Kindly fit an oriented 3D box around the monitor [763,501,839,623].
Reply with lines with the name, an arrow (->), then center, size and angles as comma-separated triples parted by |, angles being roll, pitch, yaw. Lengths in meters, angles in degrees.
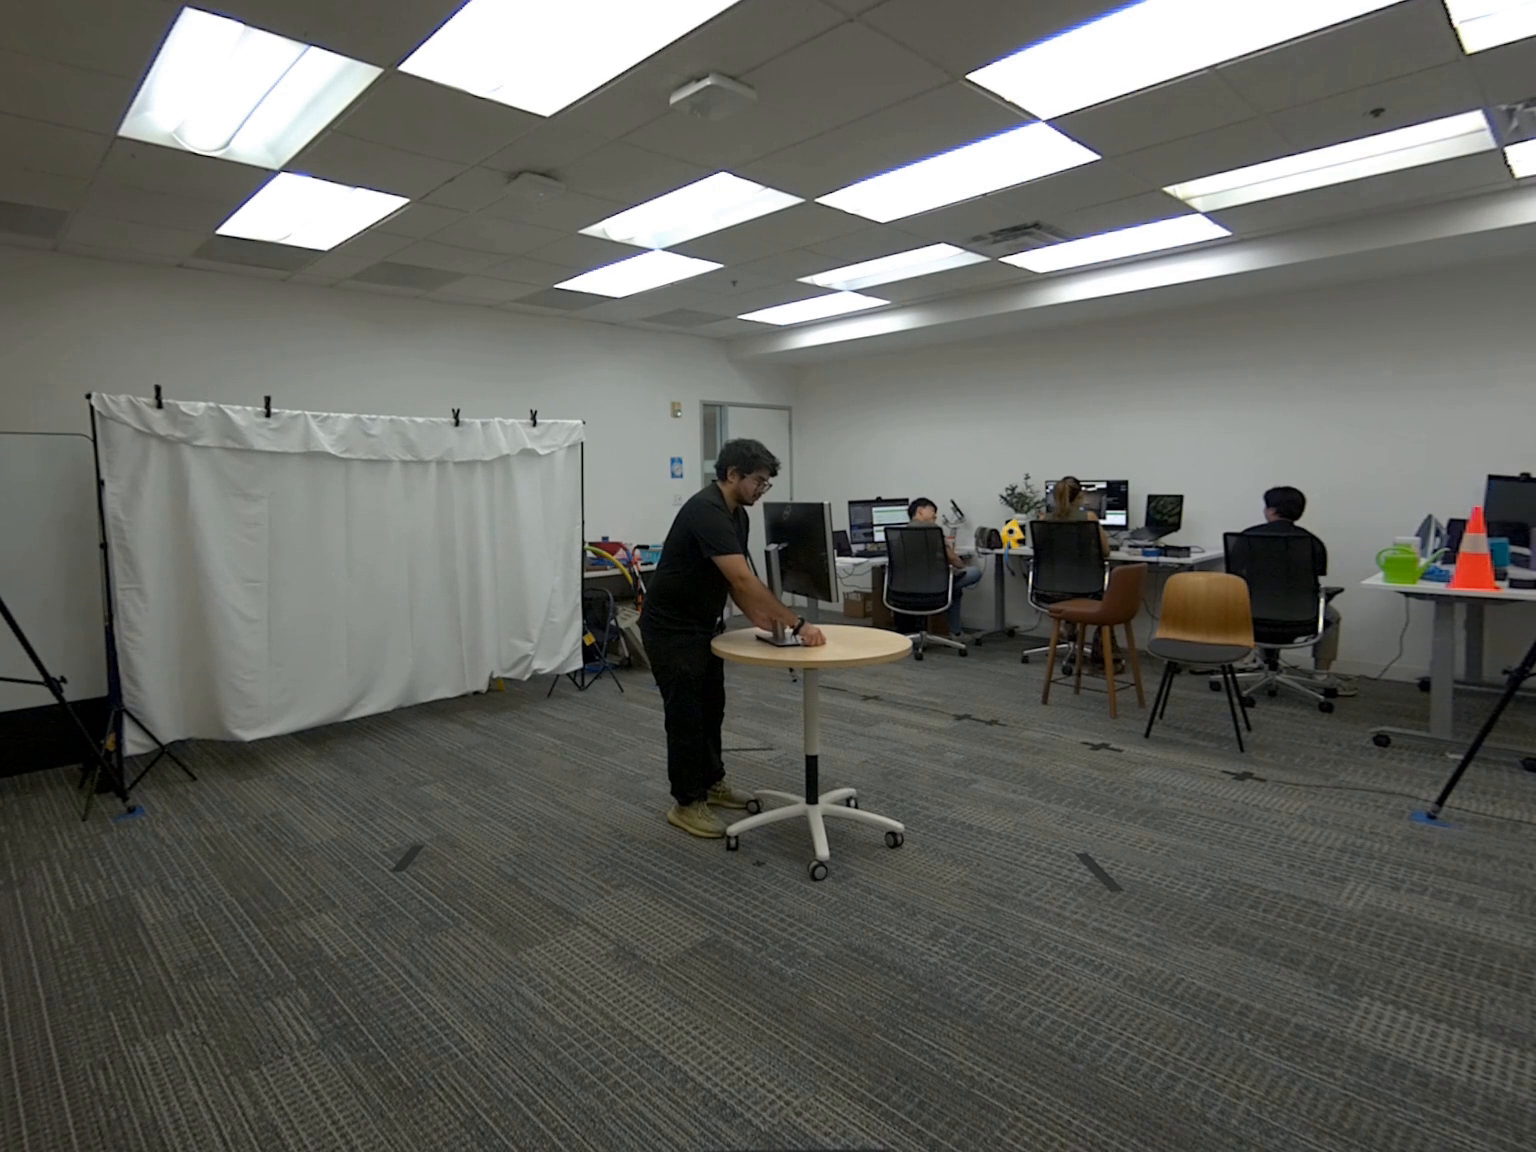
monitor -> 0.056, -0.015, 3.272 | 0.206, 0.552, 0.578 | -3, 5, -22
